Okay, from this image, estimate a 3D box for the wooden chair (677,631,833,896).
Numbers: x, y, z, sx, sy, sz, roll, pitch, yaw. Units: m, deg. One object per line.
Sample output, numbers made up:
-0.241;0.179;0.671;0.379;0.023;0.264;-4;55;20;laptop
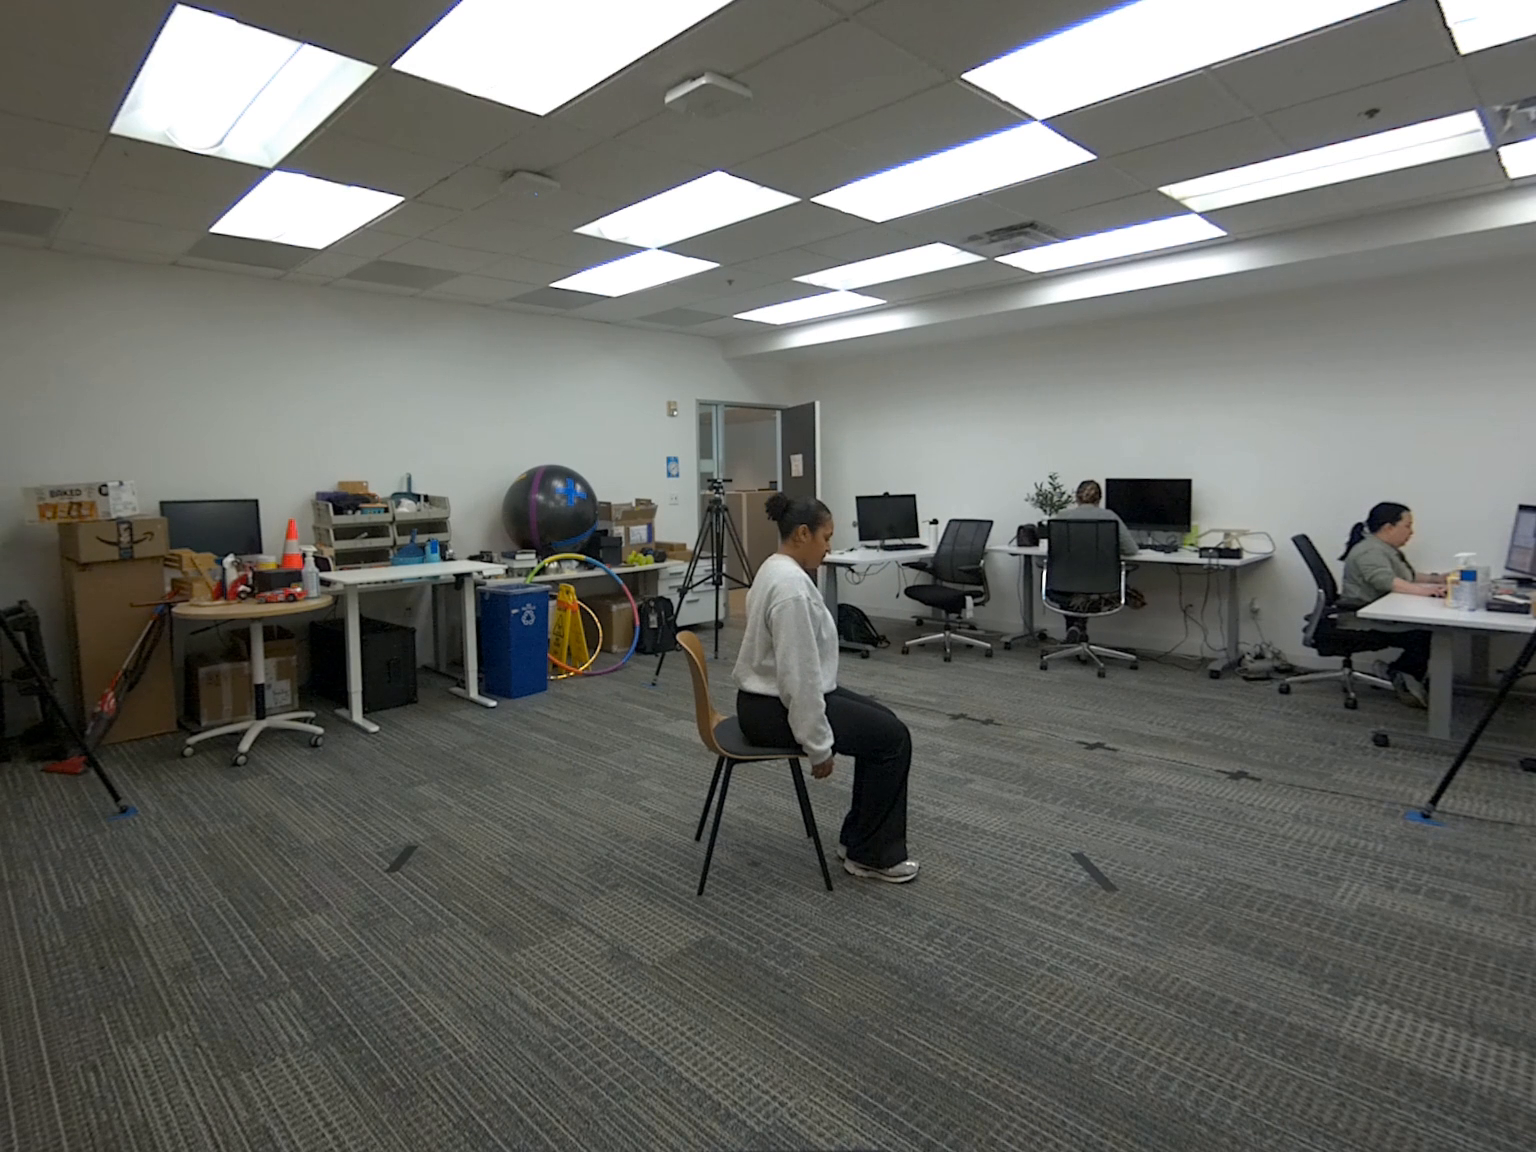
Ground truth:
-0.028;0.624;3.072;0.521;0.874;0.482;-5;4;-5;wooden chair
